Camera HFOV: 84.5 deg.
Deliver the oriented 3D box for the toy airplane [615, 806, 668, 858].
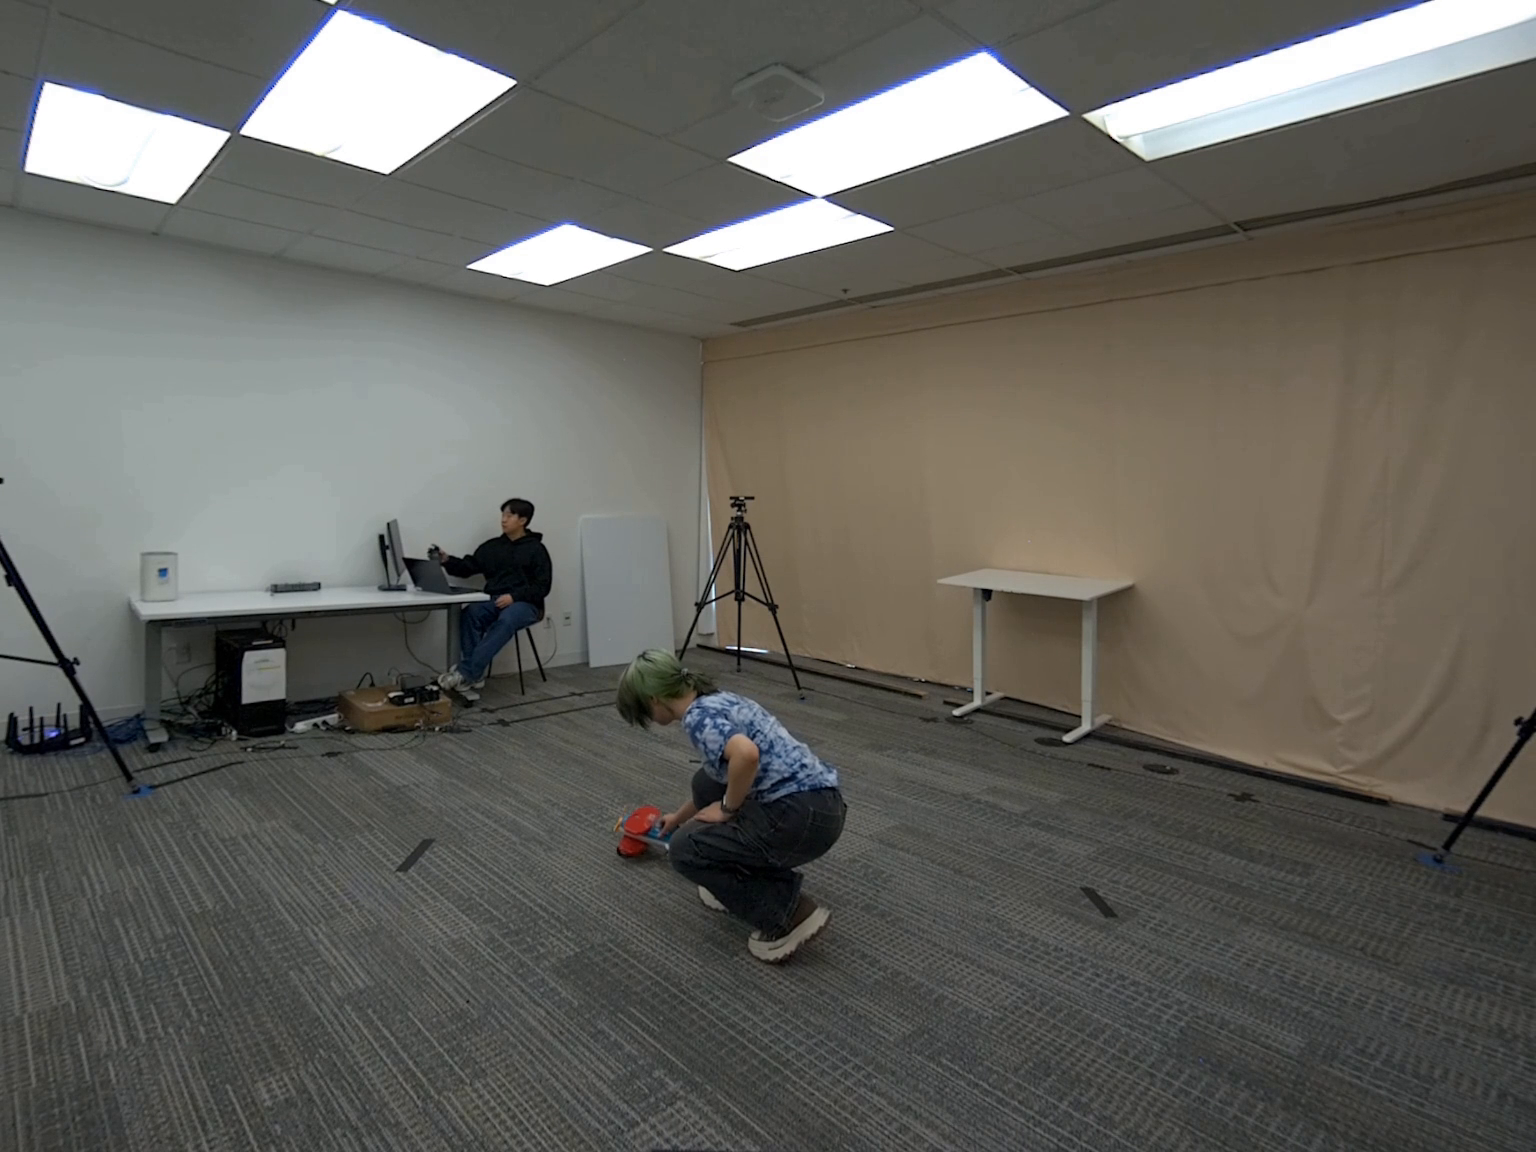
[{"bbox_3d":[-0.467,1.006,3.275,0.256,0.156,0.255,-1,5,-16],"label":"toy airplane"}]
